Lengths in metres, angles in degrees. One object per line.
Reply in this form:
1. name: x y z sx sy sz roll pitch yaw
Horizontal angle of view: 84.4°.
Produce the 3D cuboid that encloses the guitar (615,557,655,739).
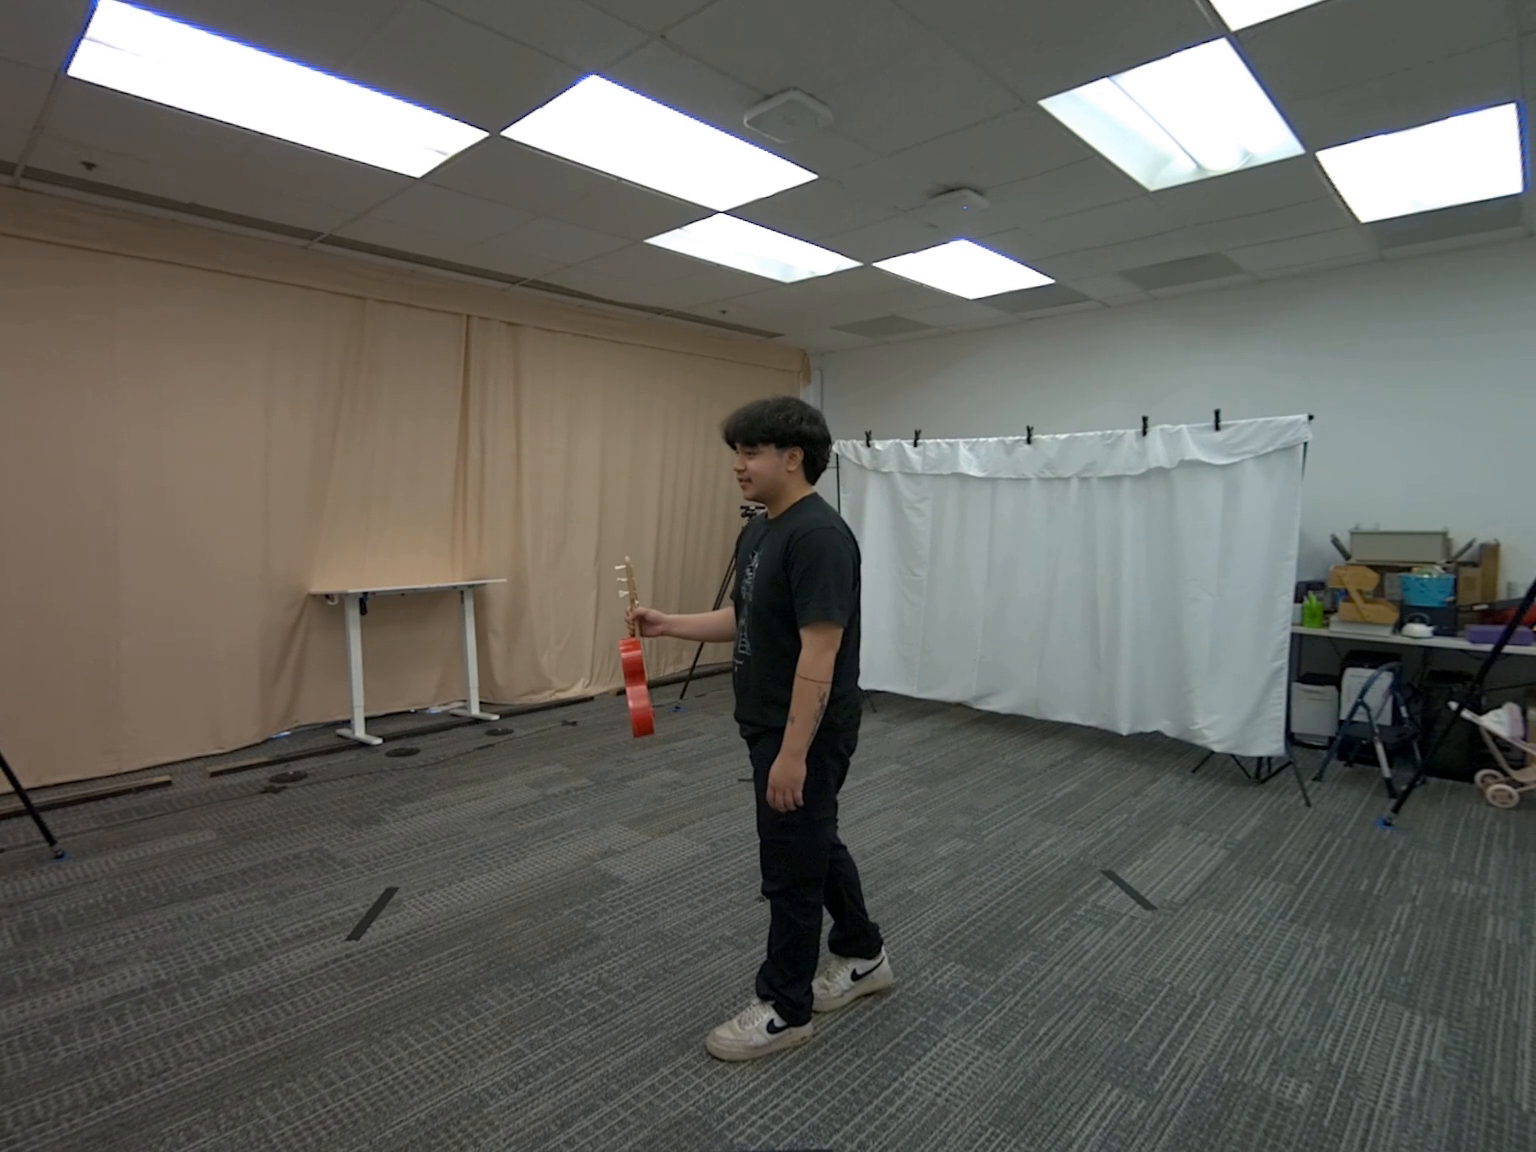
1. guitar: -0.381 0.206 2.384 0.070 0.501 0.193 -8 -8 -9
